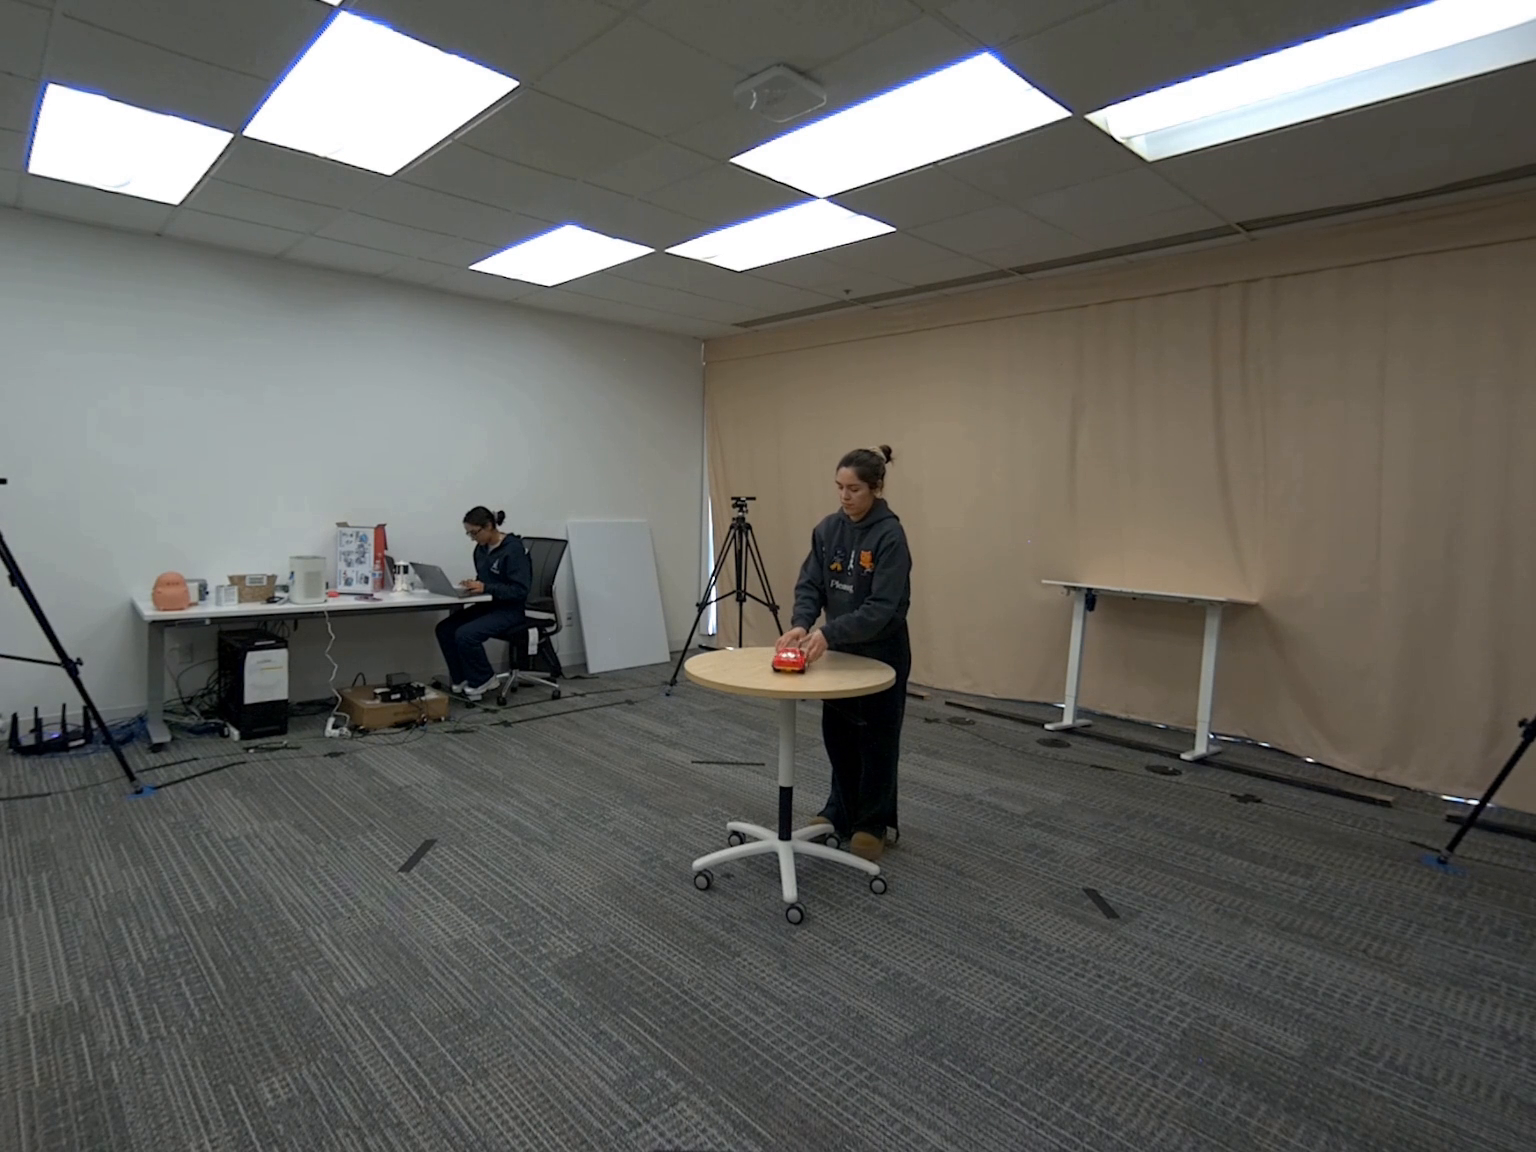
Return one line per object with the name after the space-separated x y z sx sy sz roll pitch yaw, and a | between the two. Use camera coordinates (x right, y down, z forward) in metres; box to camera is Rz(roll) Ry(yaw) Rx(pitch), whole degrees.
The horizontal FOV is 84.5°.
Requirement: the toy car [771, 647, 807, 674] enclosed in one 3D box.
0.073 0.305 3.025 0.131 0.083 0.252 2 -6 7 | toy car
